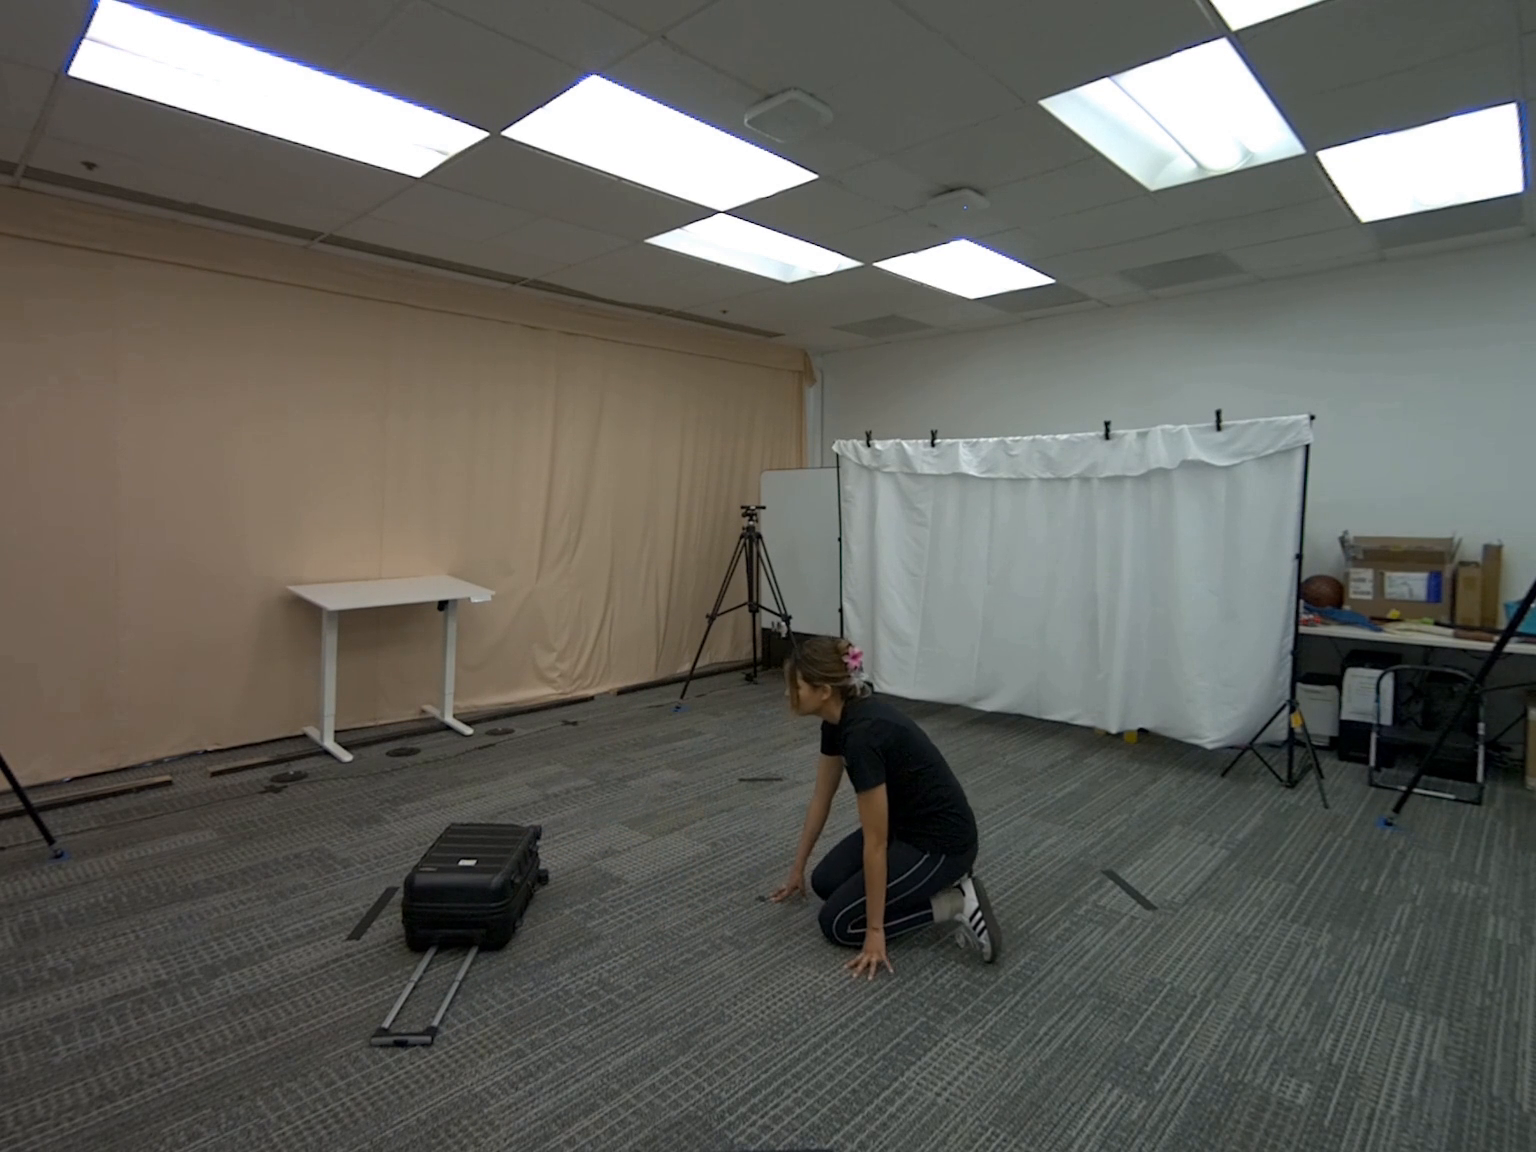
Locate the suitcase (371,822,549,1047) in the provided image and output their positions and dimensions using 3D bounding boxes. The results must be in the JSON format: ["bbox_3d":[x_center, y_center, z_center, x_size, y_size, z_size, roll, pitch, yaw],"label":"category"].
[{"bbox_3d":[-0.985,1.059,2.664,0.383,0.257,0.981,1,3,-3],"label":"suitcase"}]
